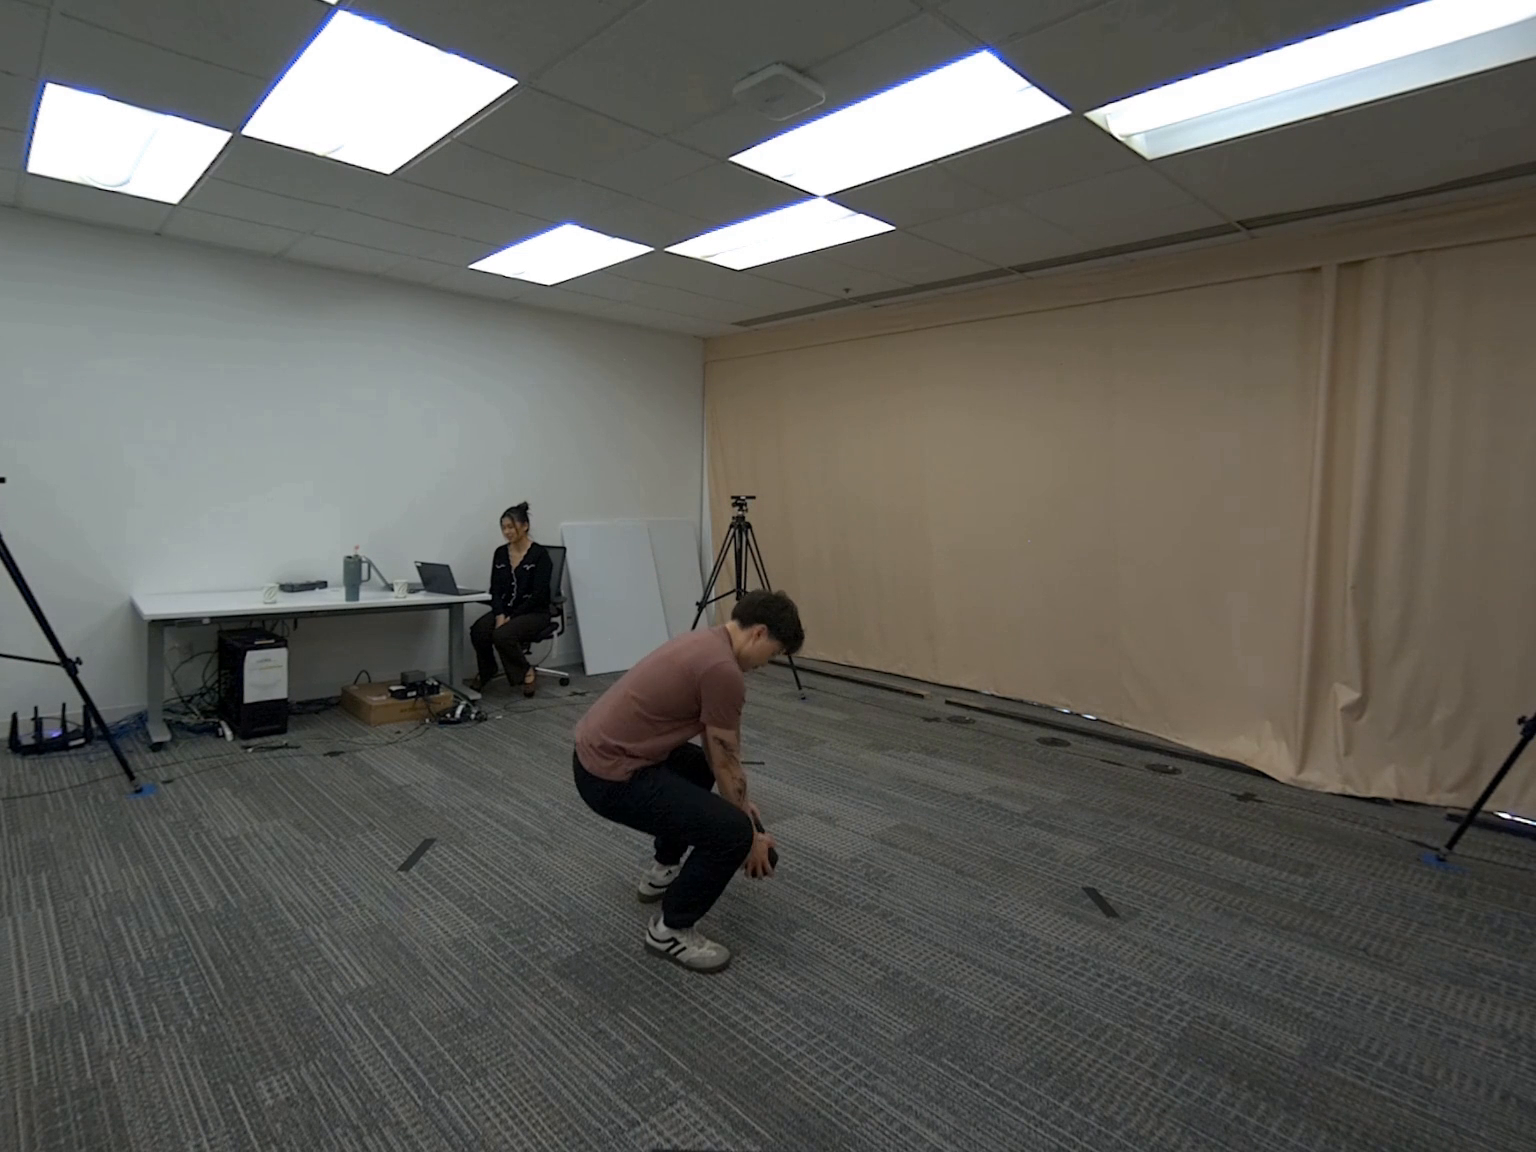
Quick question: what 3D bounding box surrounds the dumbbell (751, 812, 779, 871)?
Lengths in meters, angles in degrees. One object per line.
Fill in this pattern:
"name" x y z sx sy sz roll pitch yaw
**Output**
"dumbbell" -0.065 0.887 2.780 0.107 0.123 0.297 24 -1 -12
